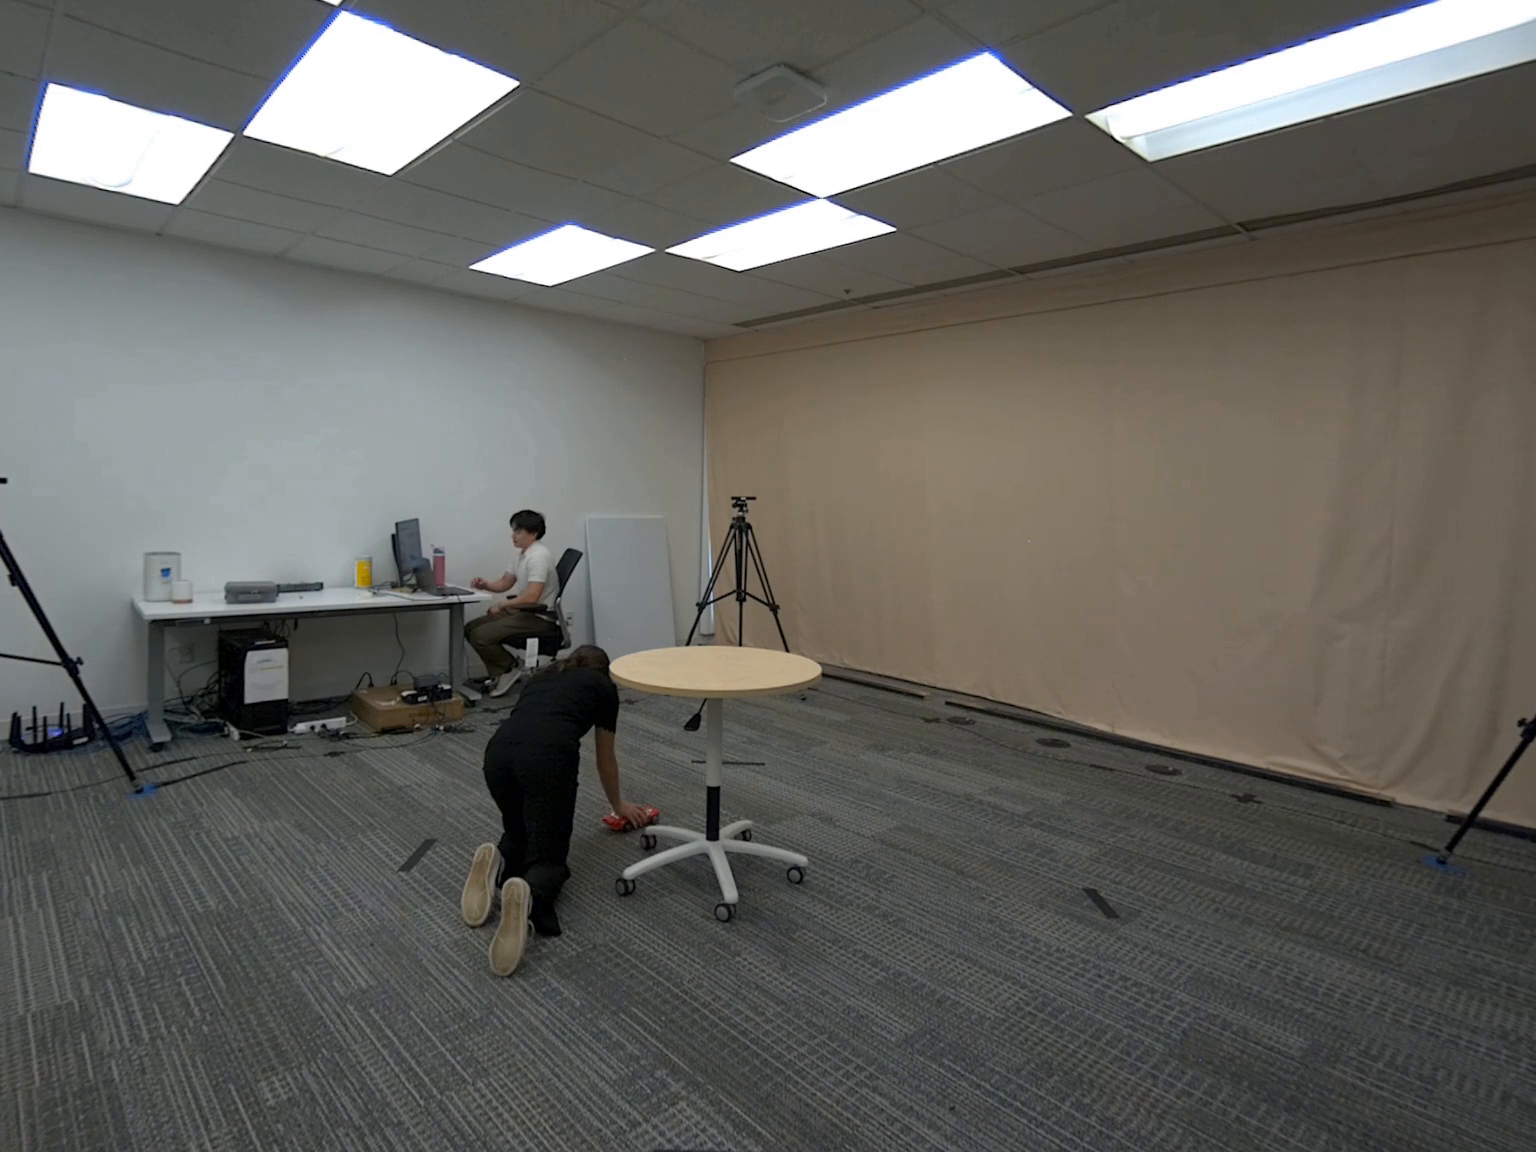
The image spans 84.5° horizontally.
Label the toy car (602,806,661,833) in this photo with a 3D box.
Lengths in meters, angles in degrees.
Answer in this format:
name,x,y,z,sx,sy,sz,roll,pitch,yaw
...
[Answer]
name,x,y,z,sx,sy,sz,roll,pitch,yaw
toy car,-0.594,1.027,3.558,0.247,0.083,0.134,11,-2,-44
